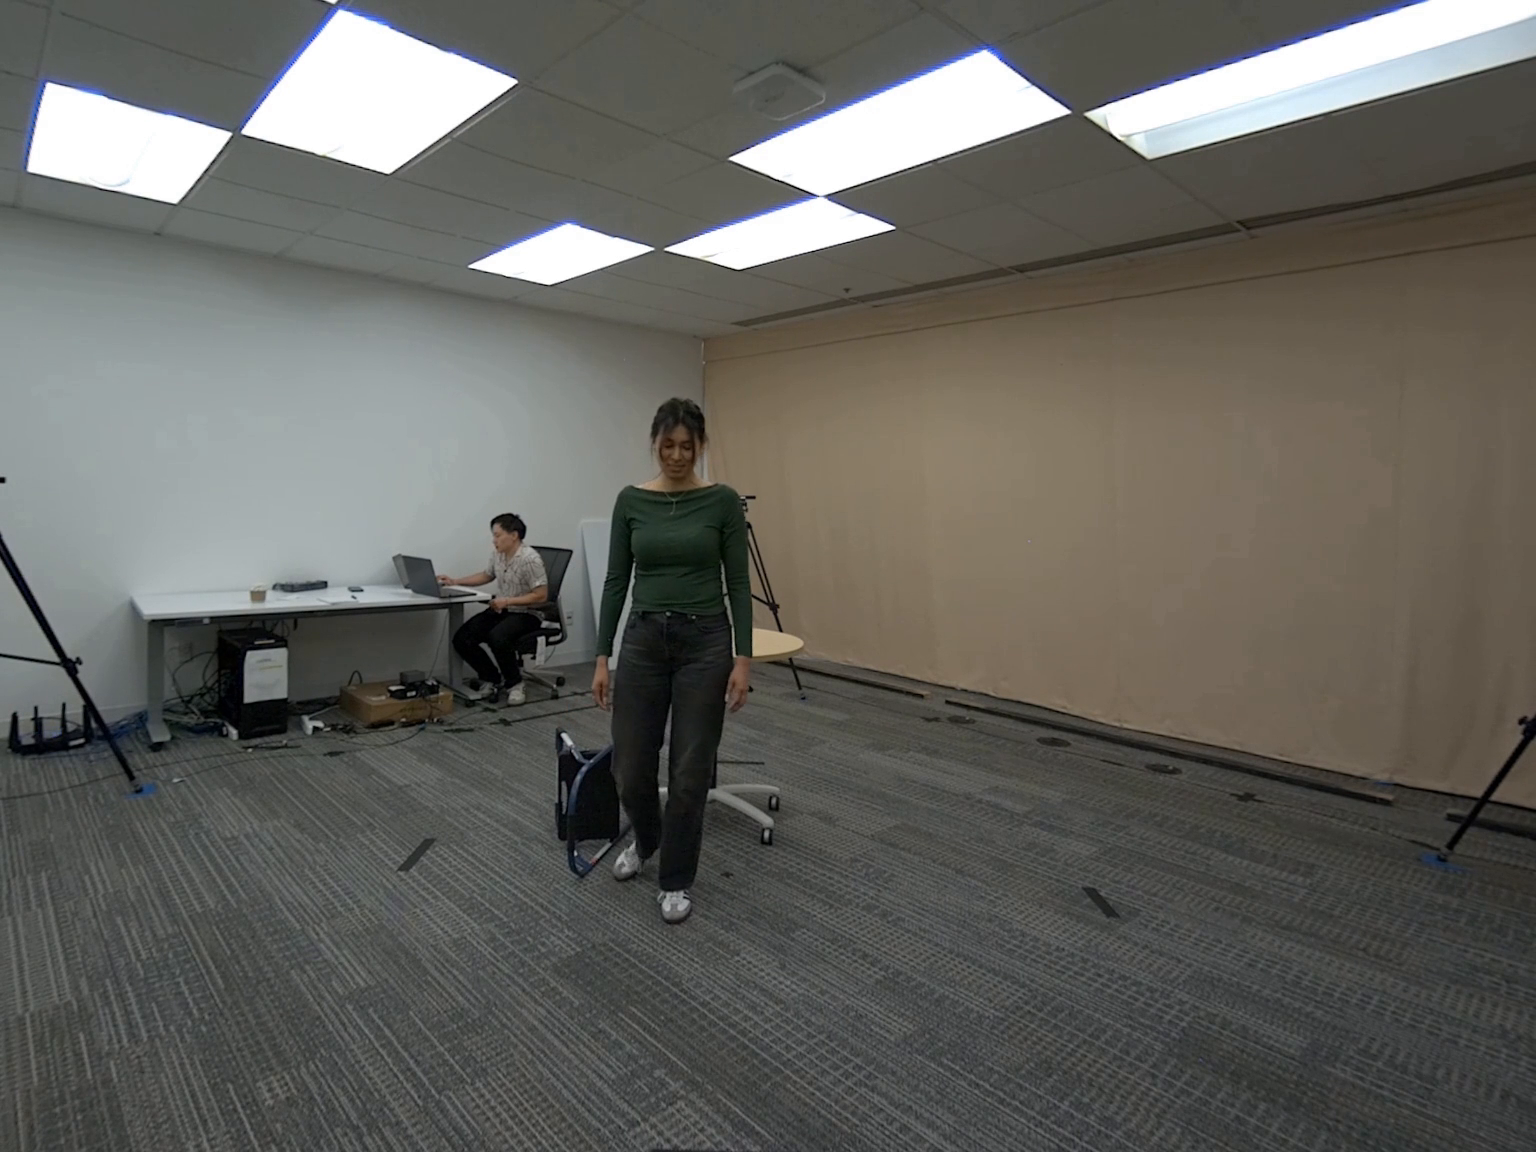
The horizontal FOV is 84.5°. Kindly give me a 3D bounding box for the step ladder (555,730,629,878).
[{"bbox_3d":[-0.671,0.861,3.251,0.347,0.429,0.613,0,6,-10],"label":"step ladder"}]
